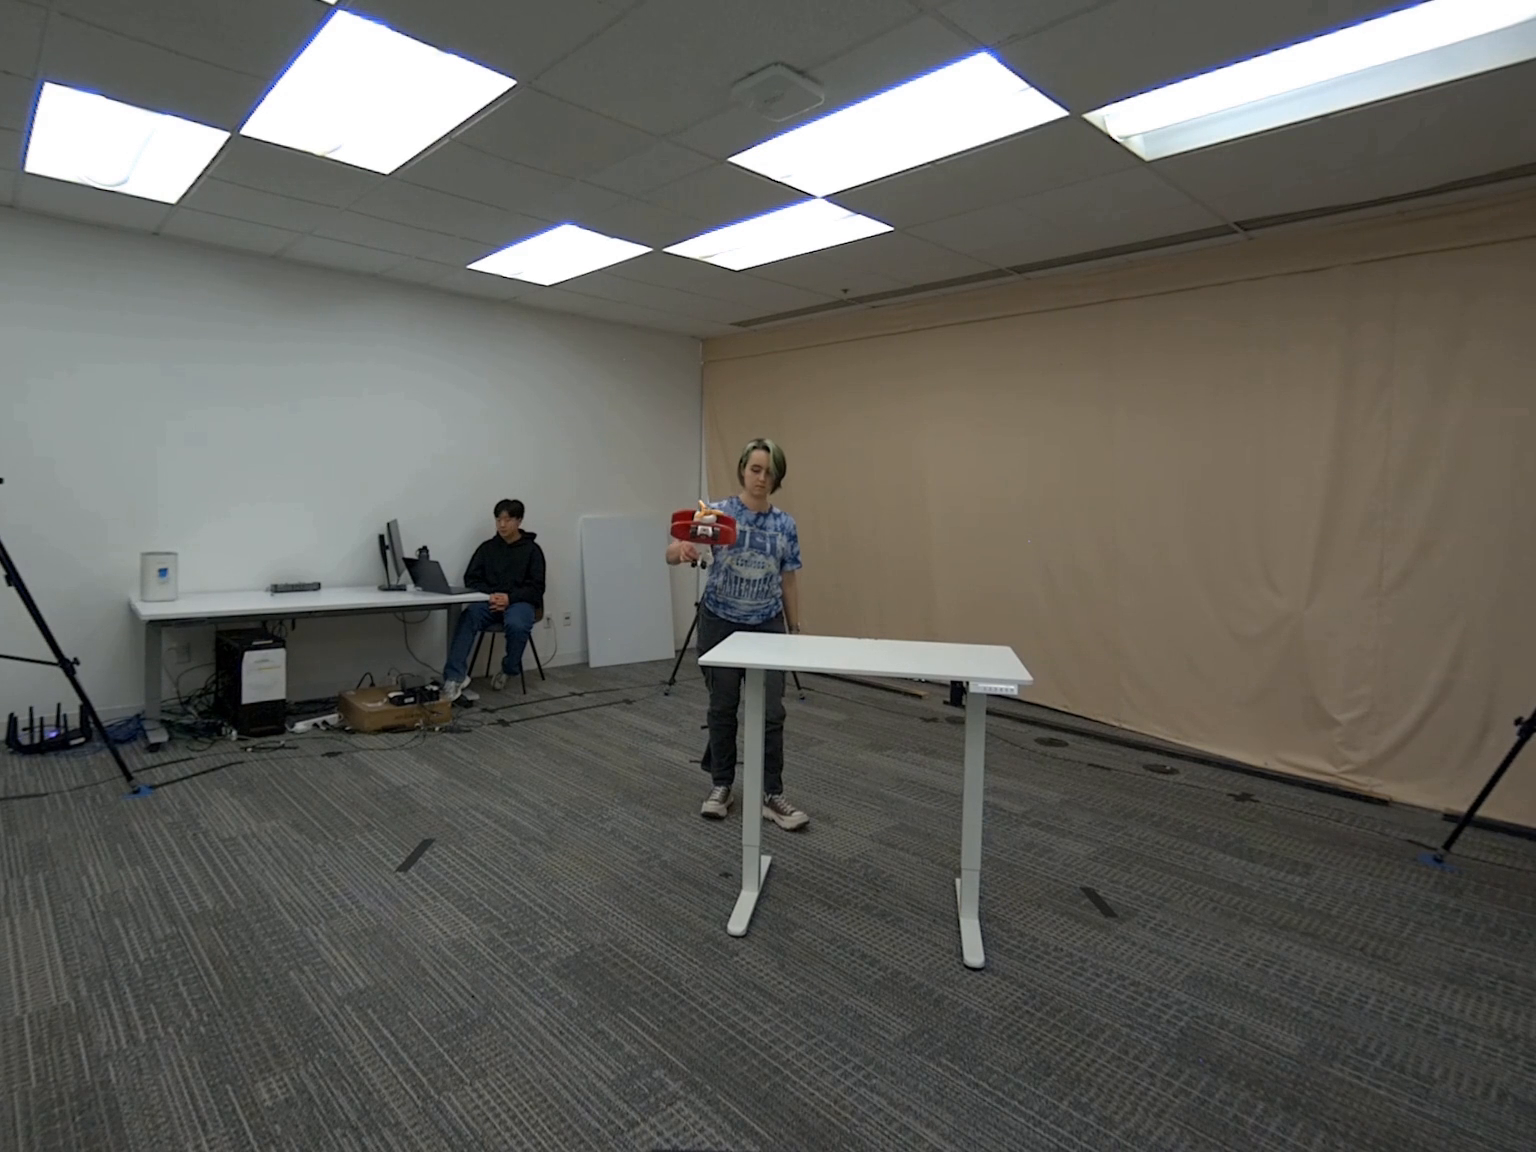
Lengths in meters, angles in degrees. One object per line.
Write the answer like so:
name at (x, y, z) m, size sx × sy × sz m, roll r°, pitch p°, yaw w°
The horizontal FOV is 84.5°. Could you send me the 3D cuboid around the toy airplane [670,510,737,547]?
toy airplane at (-0.281, -0.154, 3.287) m, size 0.245 × 0.160 × 0.260 m, roll 23°, pitch -46°, yaw -27°
